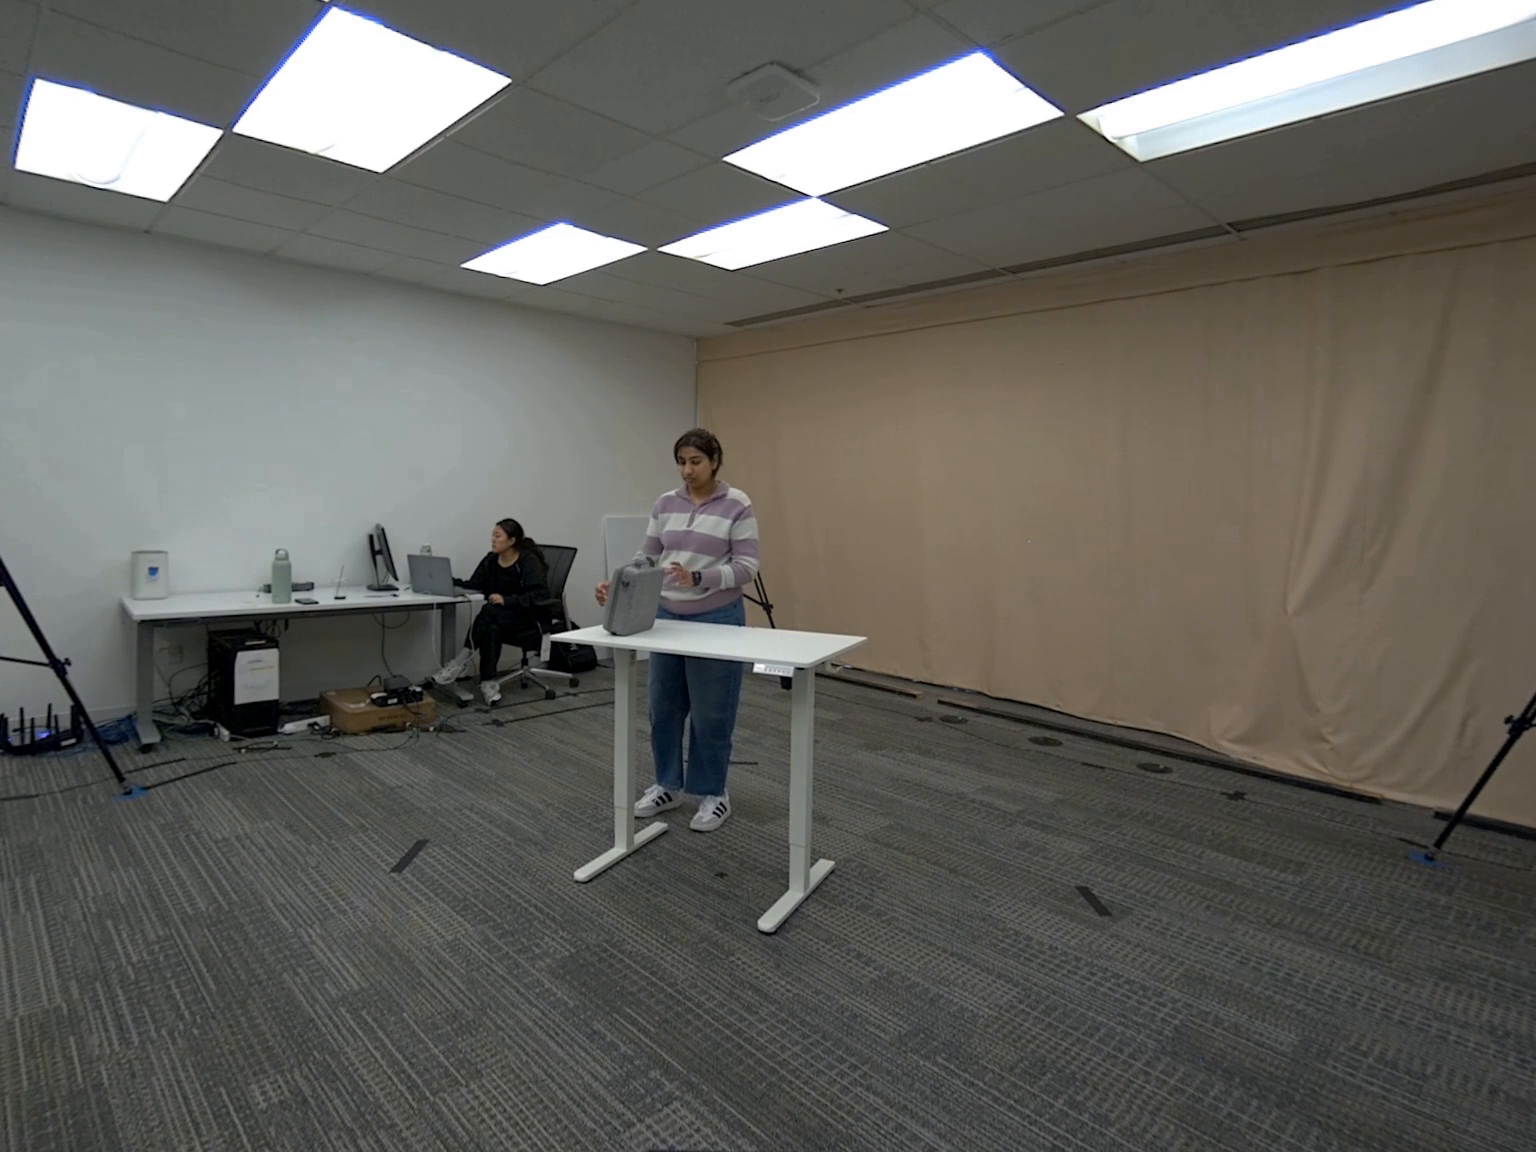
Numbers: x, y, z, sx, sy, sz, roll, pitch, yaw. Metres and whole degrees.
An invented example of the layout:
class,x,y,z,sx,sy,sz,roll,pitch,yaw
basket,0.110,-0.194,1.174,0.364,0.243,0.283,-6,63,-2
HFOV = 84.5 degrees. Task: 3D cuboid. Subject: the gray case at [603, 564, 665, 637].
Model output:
class,x,y,z,sx,sy,sz,roll,pitch,yaw
gray case,-0.510,0.081,3.141,0.106,0.259,0.254,14,8,17
